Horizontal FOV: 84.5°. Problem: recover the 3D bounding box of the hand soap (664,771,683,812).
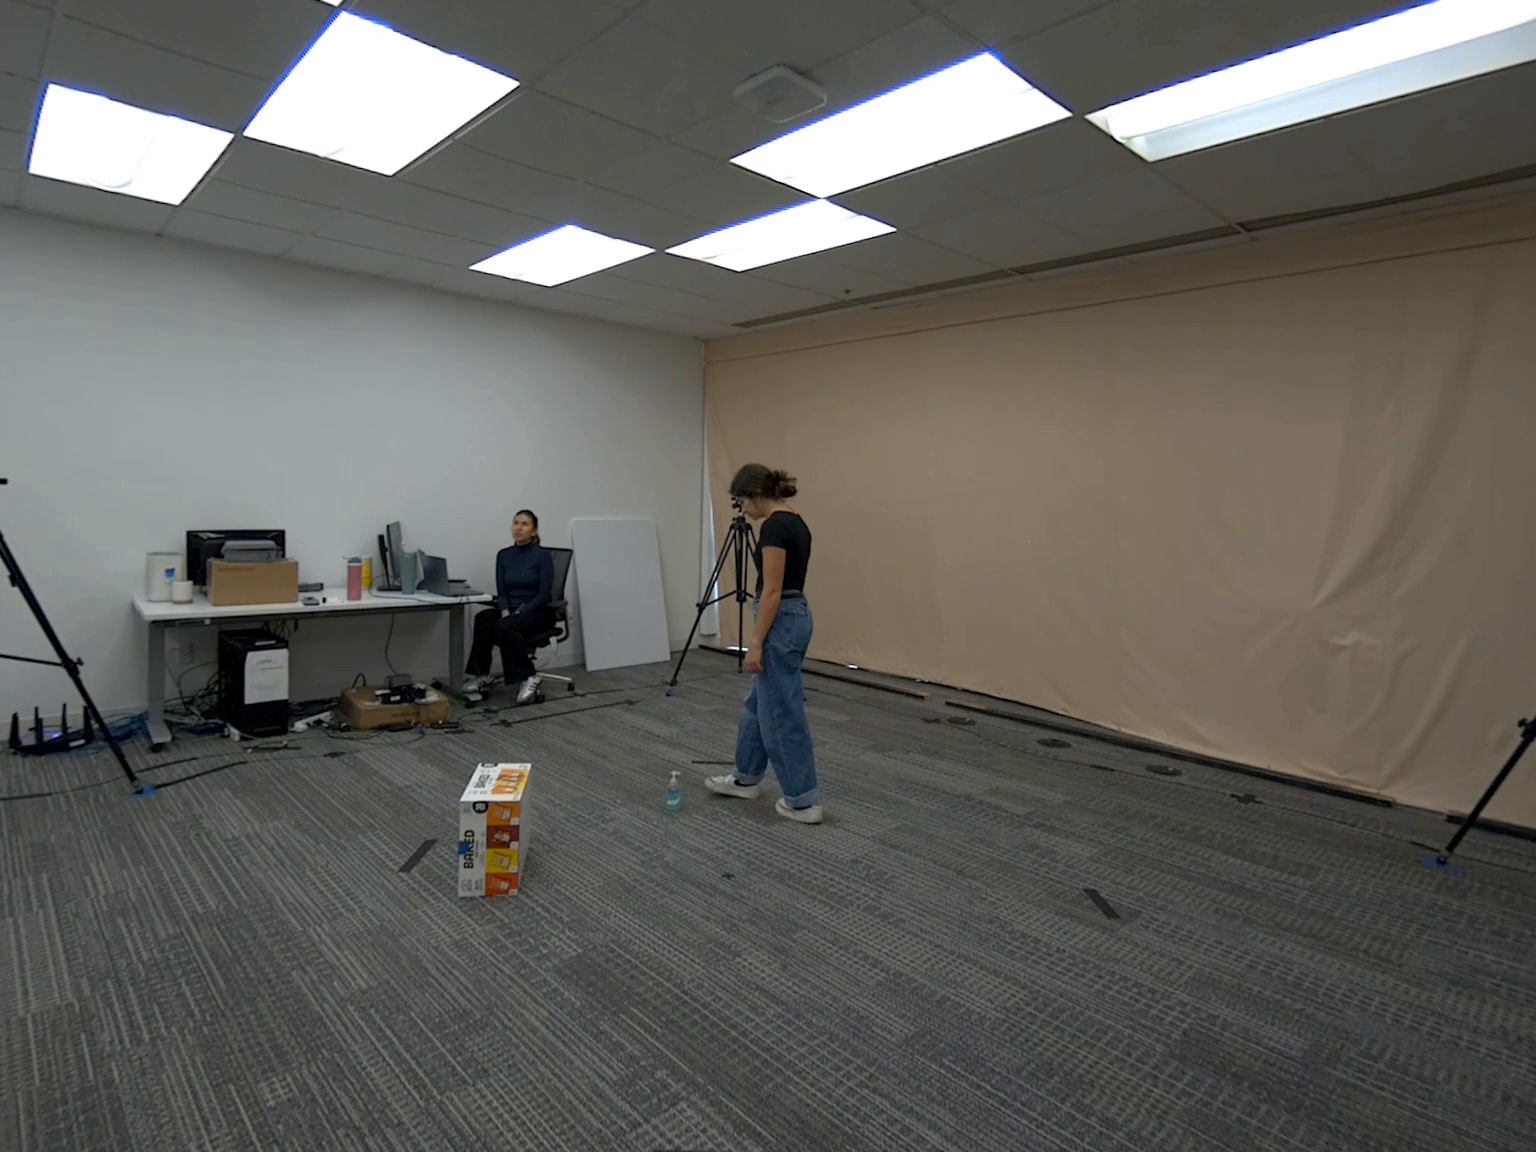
[{"bbox_3d":[-0.431,0.958,3.764,0.085,0.167,0.043,1,4,5],"label":"hand soap"}]
